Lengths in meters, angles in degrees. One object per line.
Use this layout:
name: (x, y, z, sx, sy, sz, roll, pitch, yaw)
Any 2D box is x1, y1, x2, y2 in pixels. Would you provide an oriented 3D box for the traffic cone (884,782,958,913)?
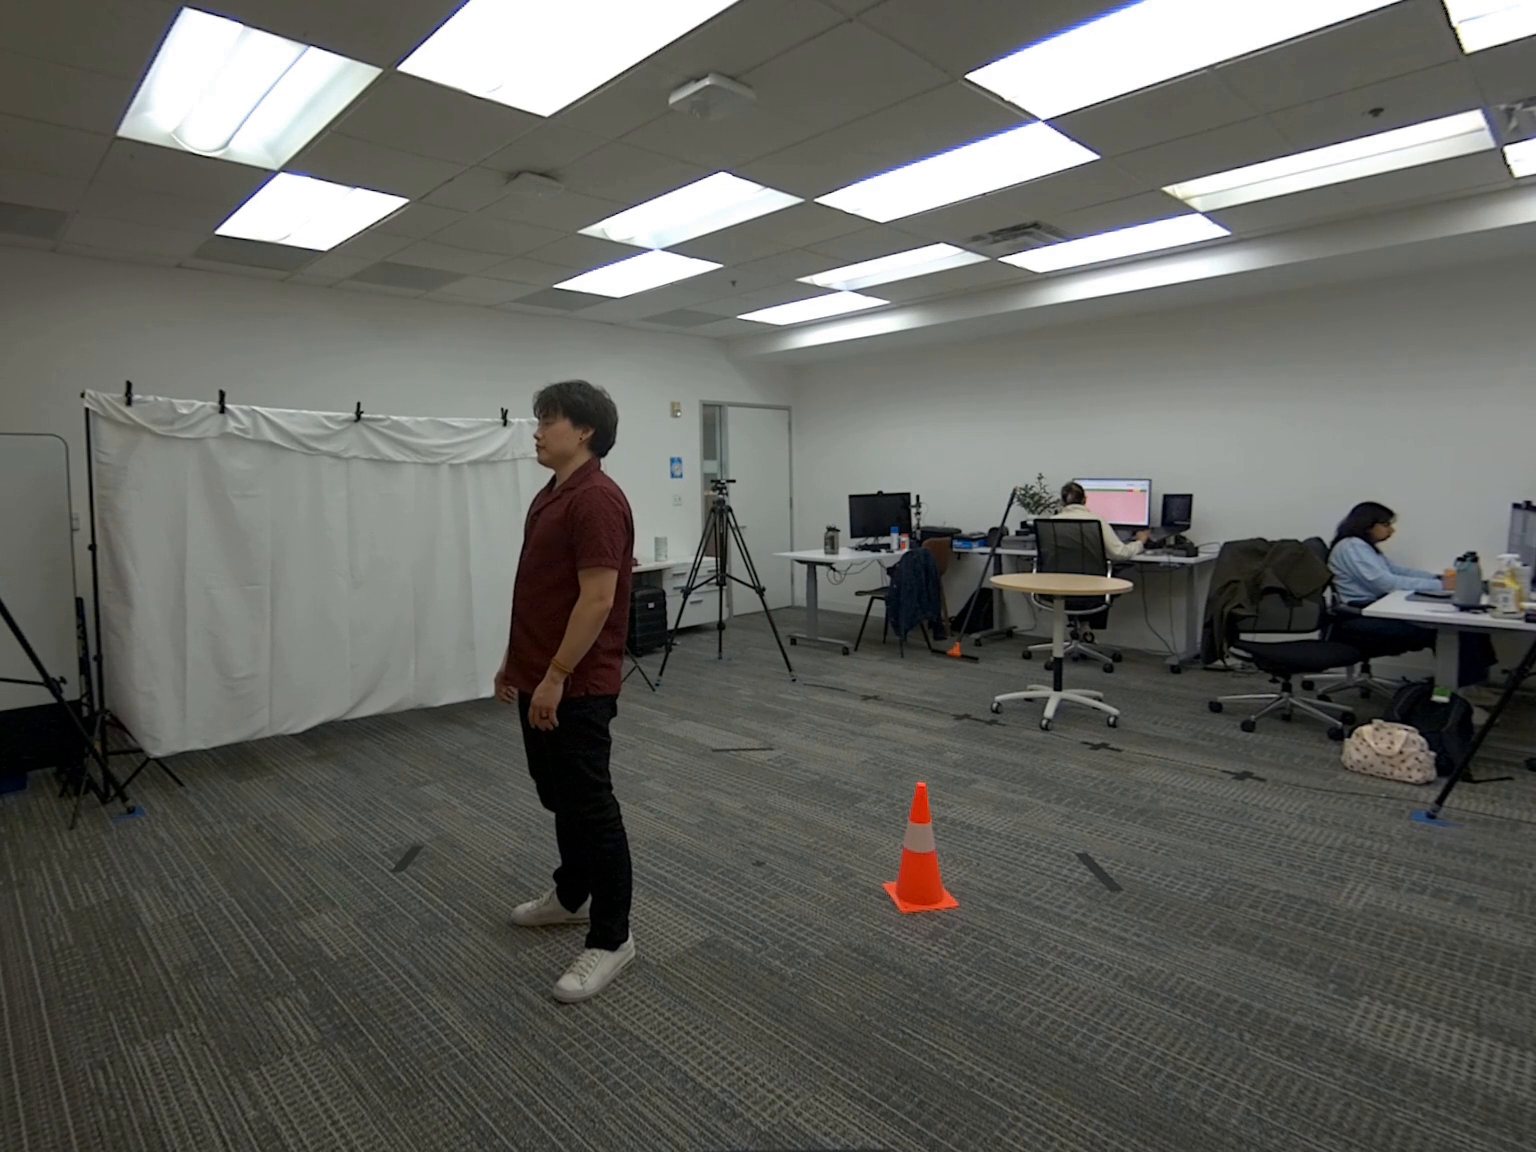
traffic cone: (0.507, 0.880, 2.844, 0.203, 0.383, 0.206, -3, 3, -11)
